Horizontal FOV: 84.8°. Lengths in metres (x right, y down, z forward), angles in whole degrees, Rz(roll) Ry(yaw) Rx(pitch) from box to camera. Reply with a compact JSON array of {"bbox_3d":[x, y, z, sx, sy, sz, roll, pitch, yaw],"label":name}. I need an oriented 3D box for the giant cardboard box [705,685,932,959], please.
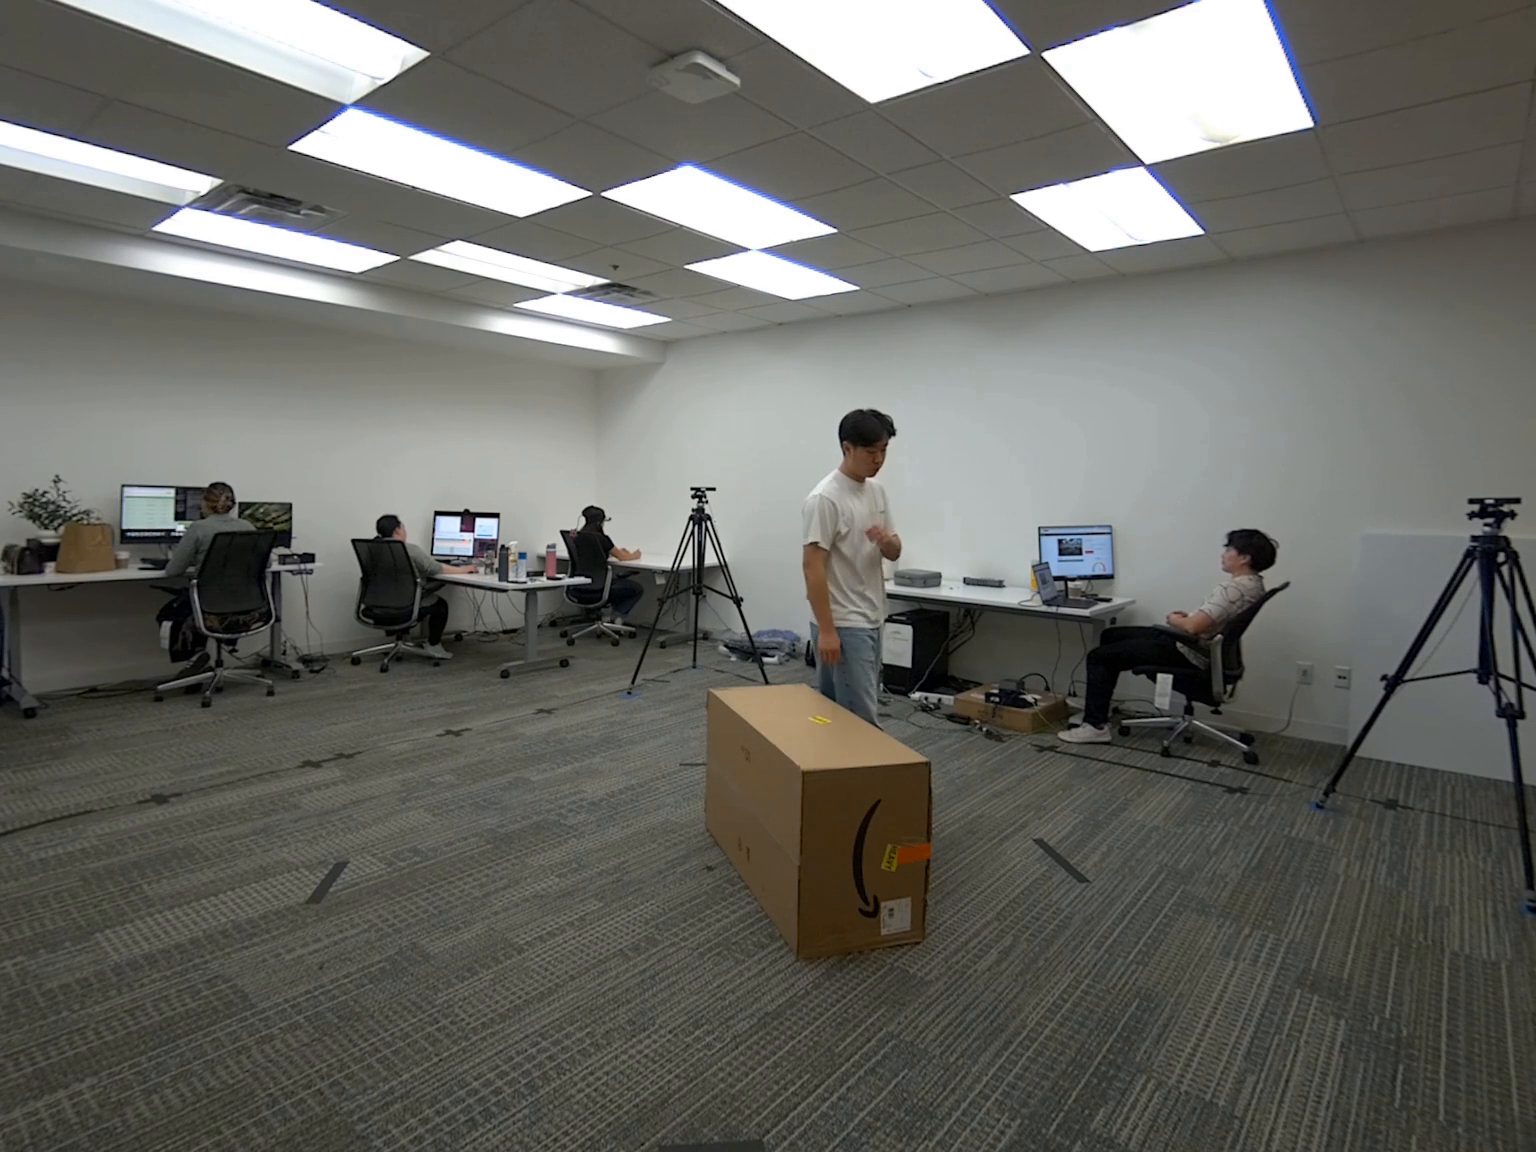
[{"bbox_3d":[0.110,0.792,3.033,0.418,0.575,1.049,0,5,-19],"label":"giant cardboard box"}]
